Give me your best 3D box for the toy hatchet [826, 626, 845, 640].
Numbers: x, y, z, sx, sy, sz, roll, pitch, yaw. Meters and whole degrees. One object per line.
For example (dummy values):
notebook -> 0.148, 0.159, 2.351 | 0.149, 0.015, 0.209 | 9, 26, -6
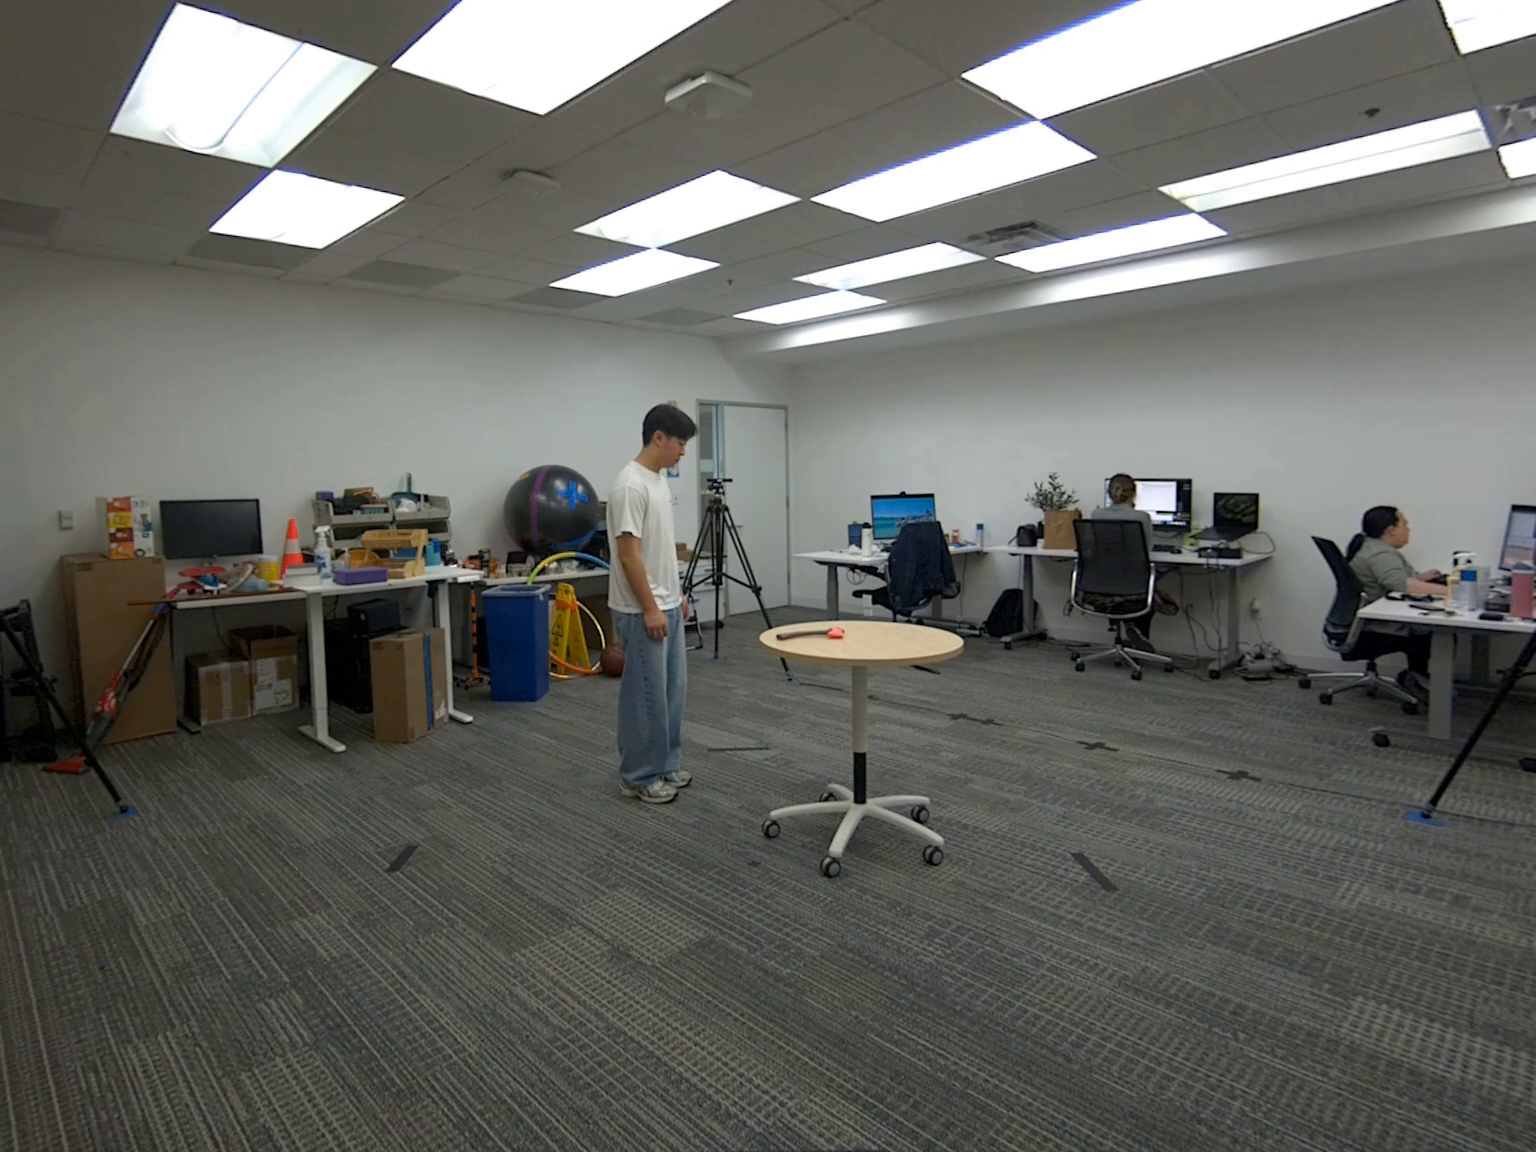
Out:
toy hatchet -> 0.182, 0.229, 3.265 | 0.264, 0.029, 0.135 | -6, 12, -28
